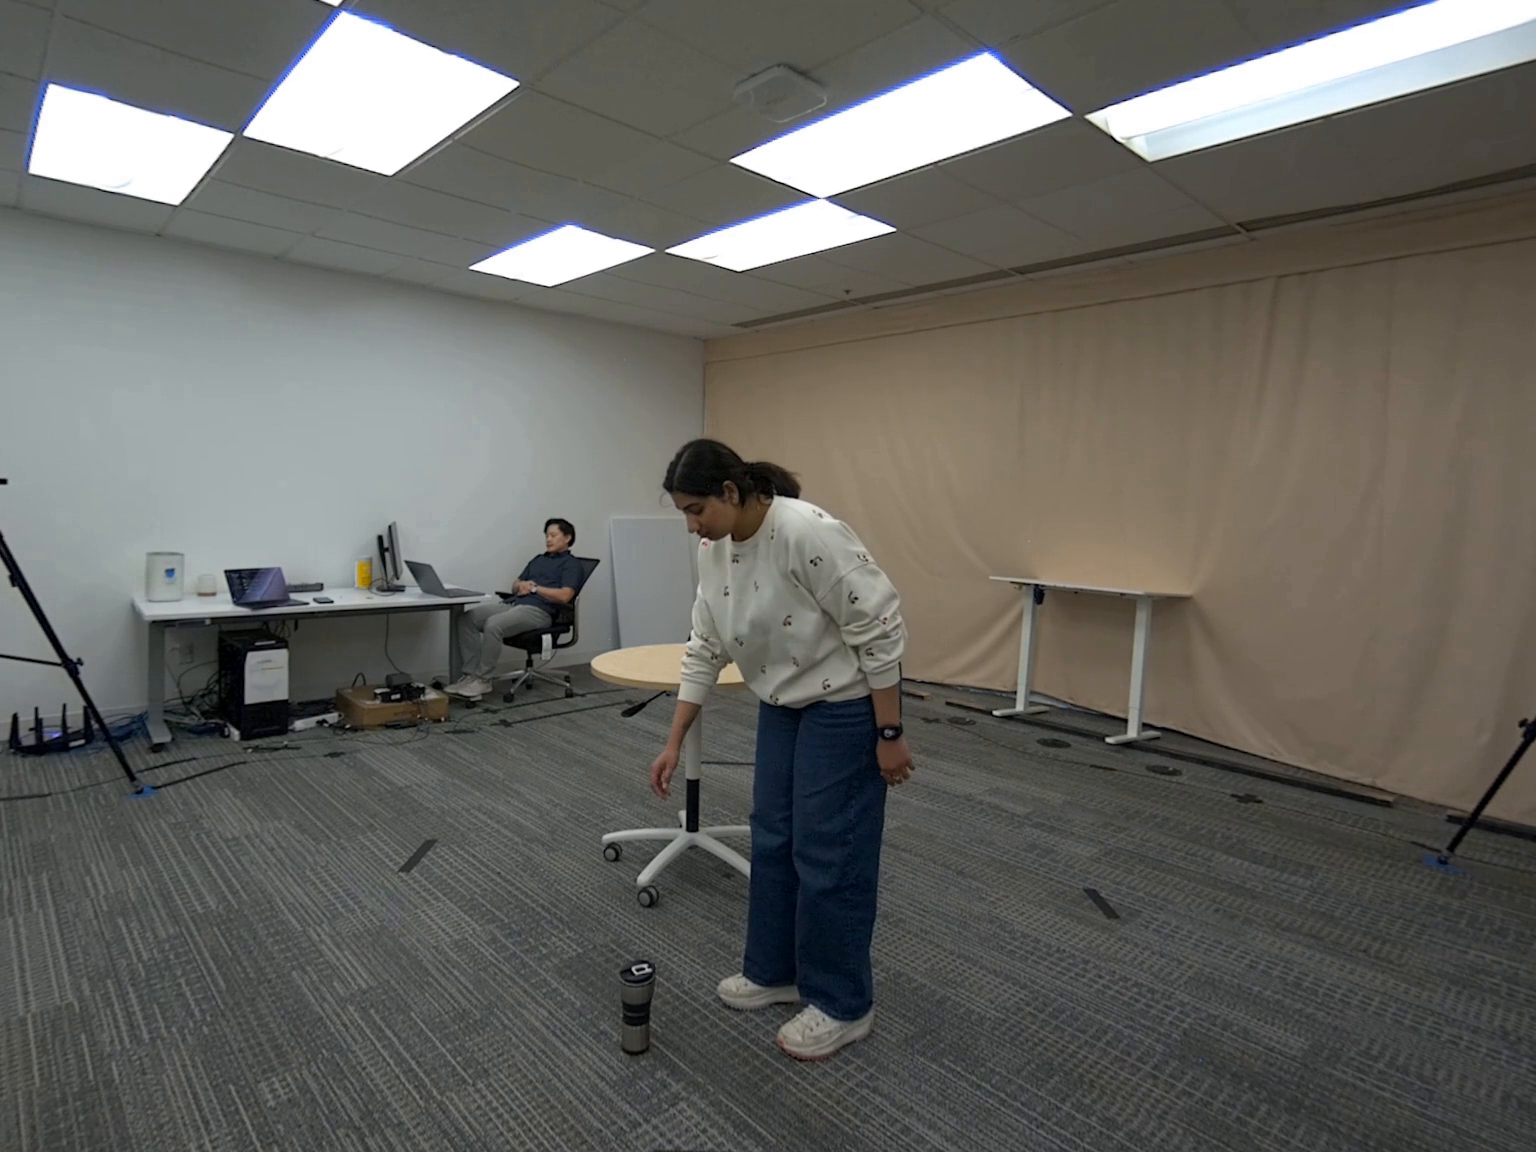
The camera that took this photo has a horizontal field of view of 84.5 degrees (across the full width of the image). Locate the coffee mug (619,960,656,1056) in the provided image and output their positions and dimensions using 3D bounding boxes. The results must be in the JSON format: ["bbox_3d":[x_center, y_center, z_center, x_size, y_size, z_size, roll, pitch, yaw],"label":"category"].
[{"bbox_3d":[-0.319,1.090,2.142,0.090,0.202,0.119,1,3,43],"label":"coffee mug"}]
